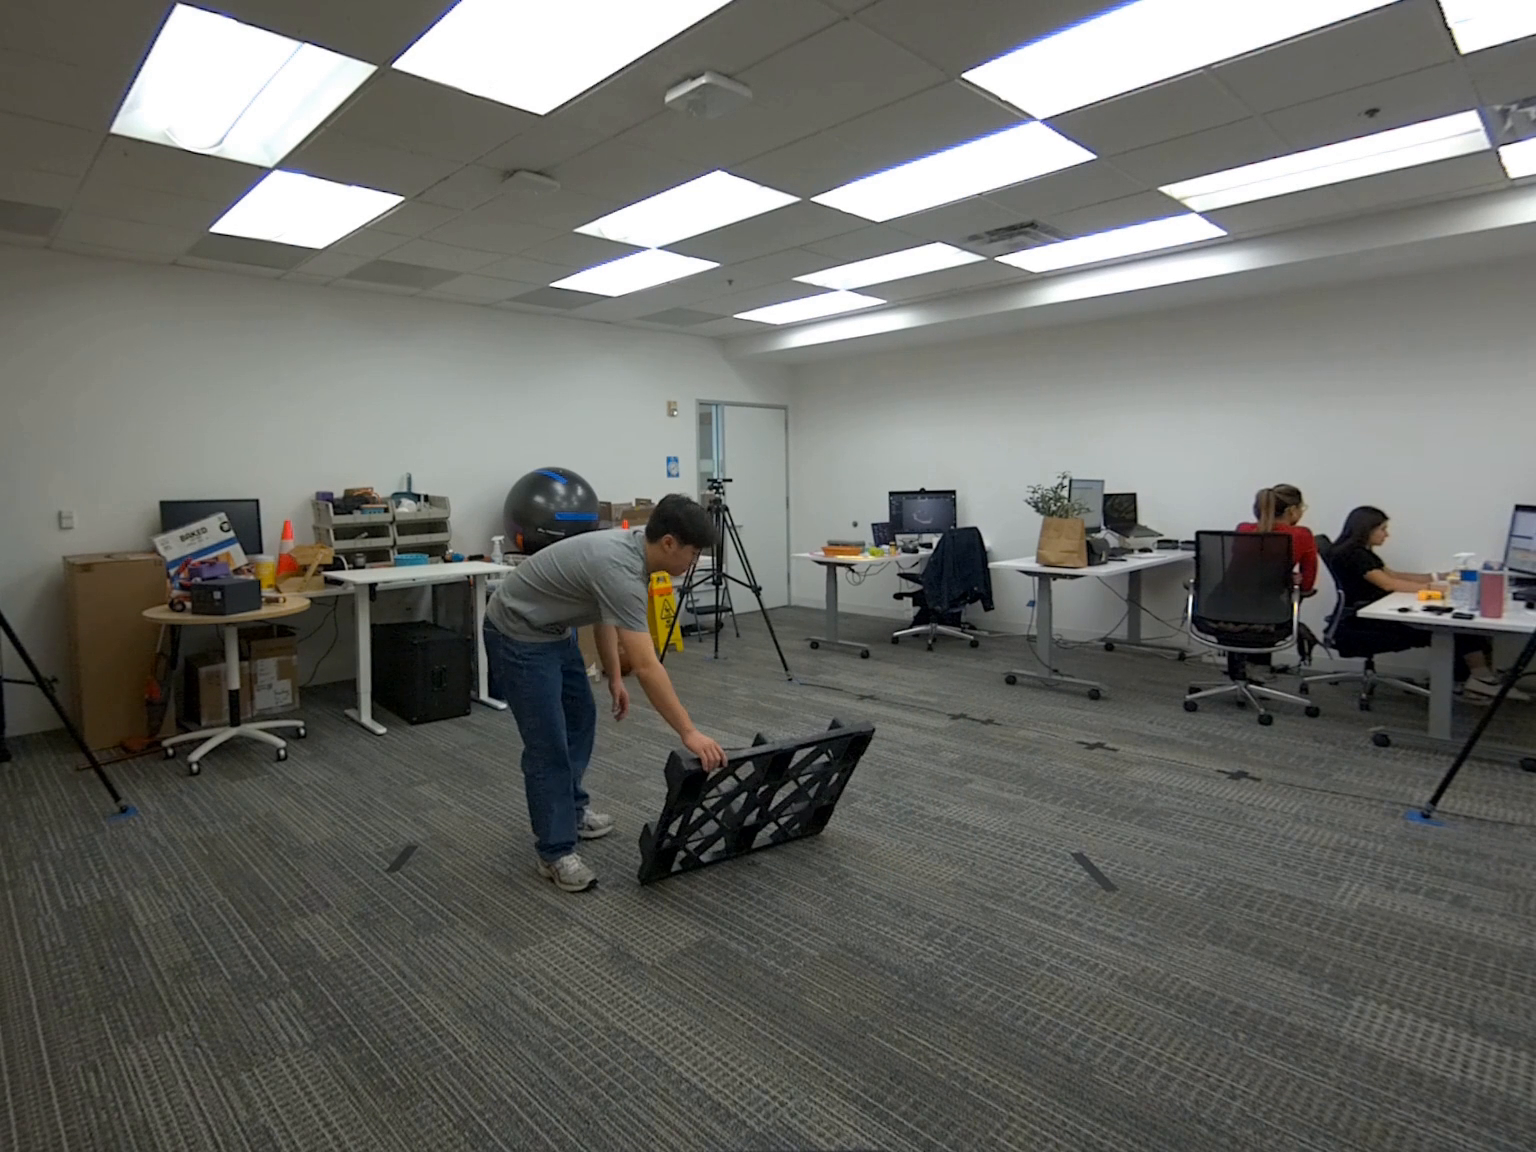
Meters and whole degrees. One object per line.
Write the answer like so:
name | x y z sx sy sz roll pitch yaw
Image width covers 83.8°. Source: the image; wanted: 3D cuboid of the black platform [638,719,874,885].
black platform | -0.053 0.768 3.041 0.786 0.596 0.149 -4 39 -33
